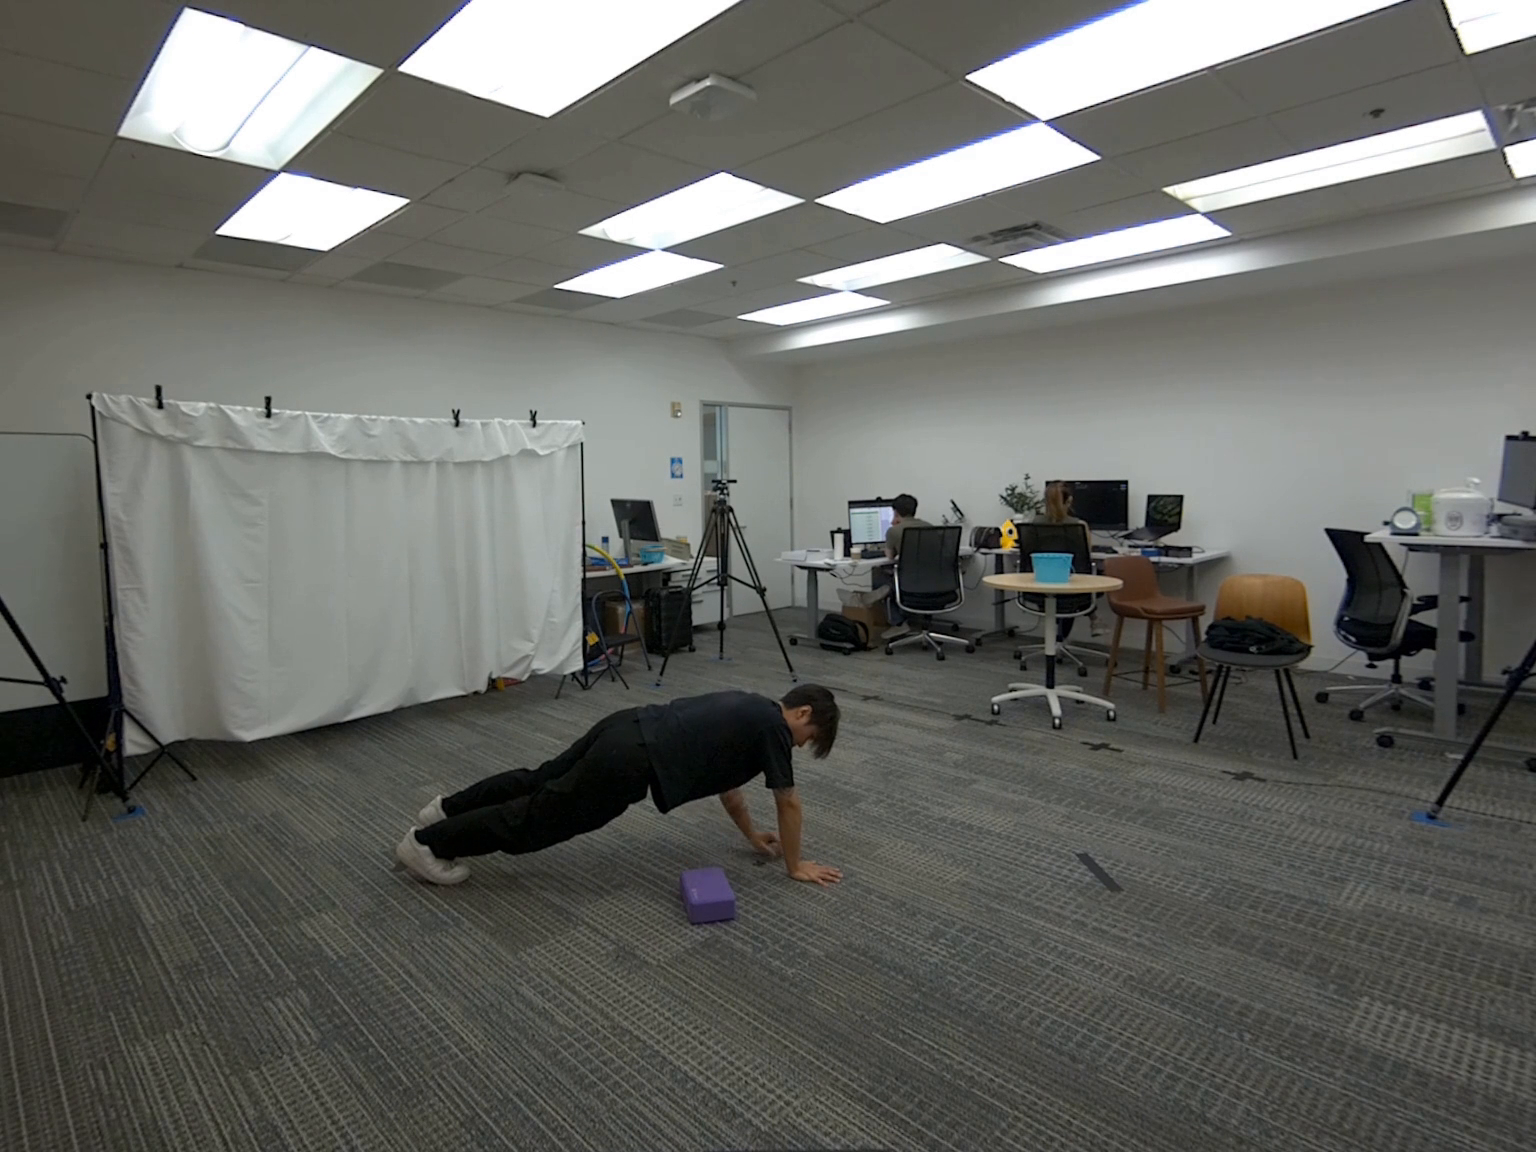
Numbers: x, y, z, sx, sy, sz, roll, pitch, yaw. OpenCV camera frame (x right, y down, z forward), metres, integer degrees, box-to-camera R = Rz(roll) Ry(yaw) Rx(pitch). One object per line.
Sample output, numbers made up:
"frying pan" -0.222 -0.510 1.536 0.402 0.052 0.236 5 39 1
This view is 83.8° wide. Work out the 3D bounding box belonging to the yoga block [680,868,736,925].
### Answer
"yoga block" -0.199 1.047 2.803 0.147 0.076 0.233 -1 5 -12
